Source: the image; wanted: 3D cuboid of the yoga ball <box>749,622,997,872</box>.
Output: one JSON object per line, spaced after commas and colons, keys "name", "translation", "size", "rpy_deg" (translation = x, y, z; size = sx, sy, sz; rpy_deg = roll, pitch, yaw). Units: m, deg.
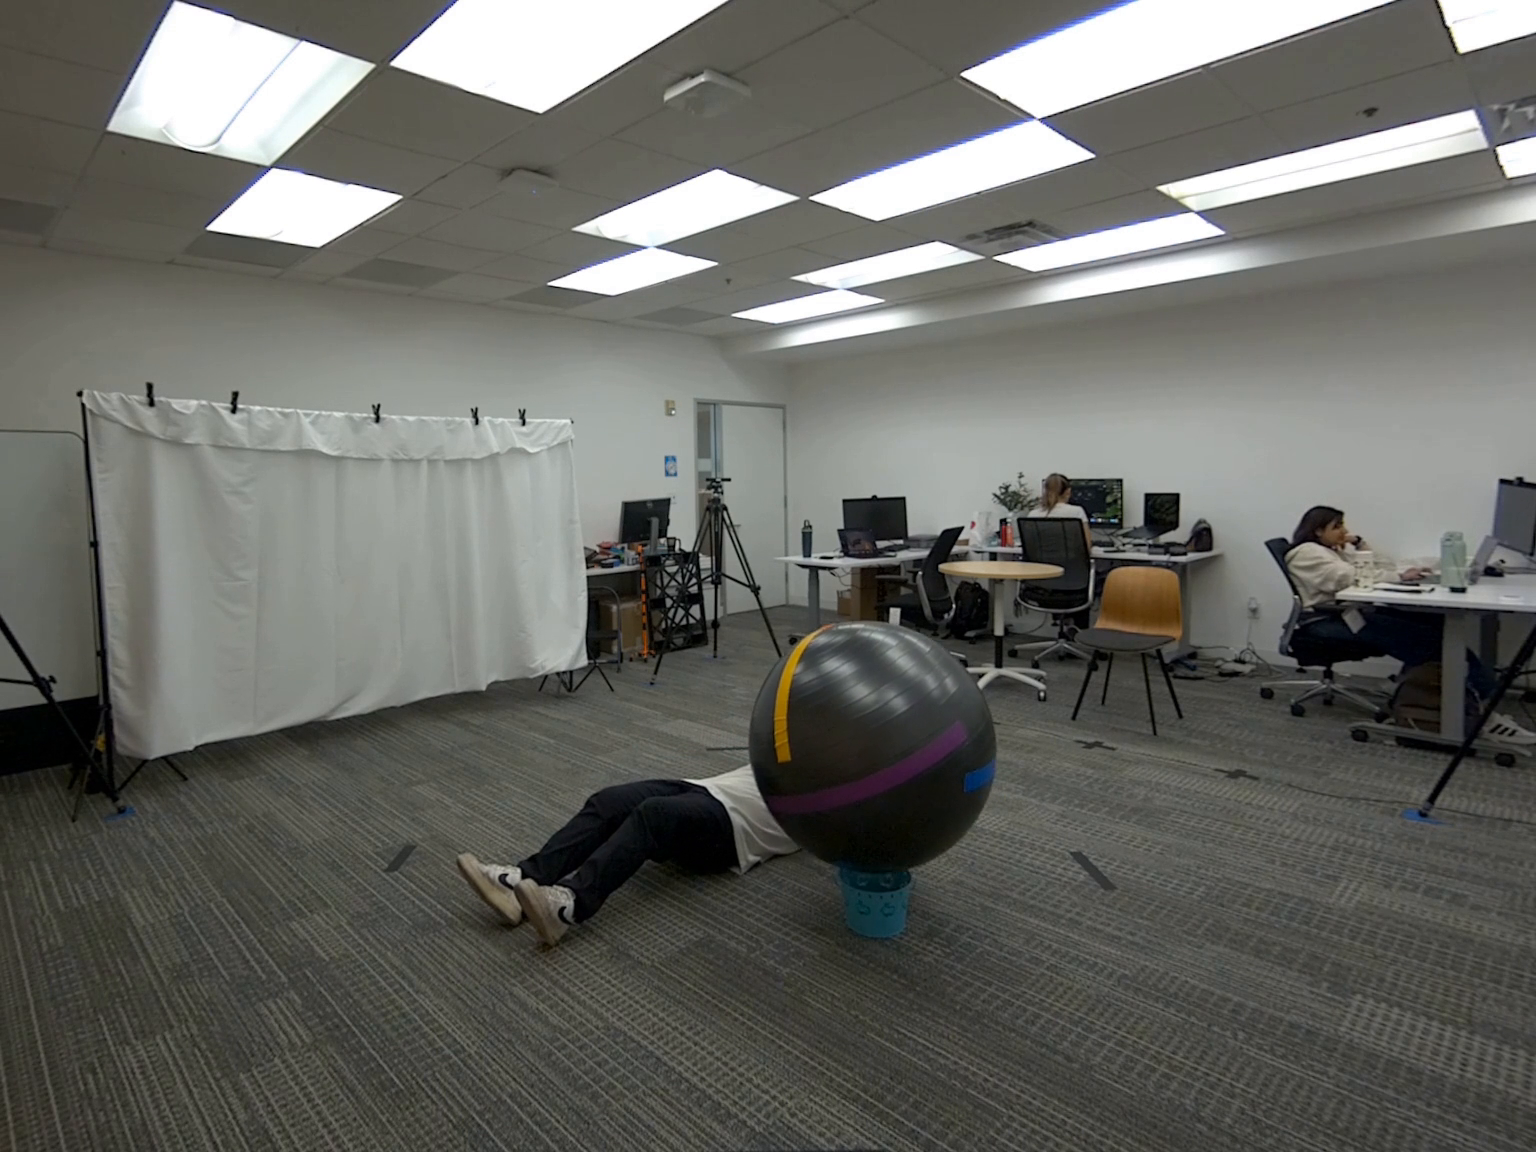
{"name": "yoga ball", "translation": [0.315, 0.520, 2.670], "size": [0.757, 0.755, 0.762], "rpy_deg": [-1, 5, -2]}
